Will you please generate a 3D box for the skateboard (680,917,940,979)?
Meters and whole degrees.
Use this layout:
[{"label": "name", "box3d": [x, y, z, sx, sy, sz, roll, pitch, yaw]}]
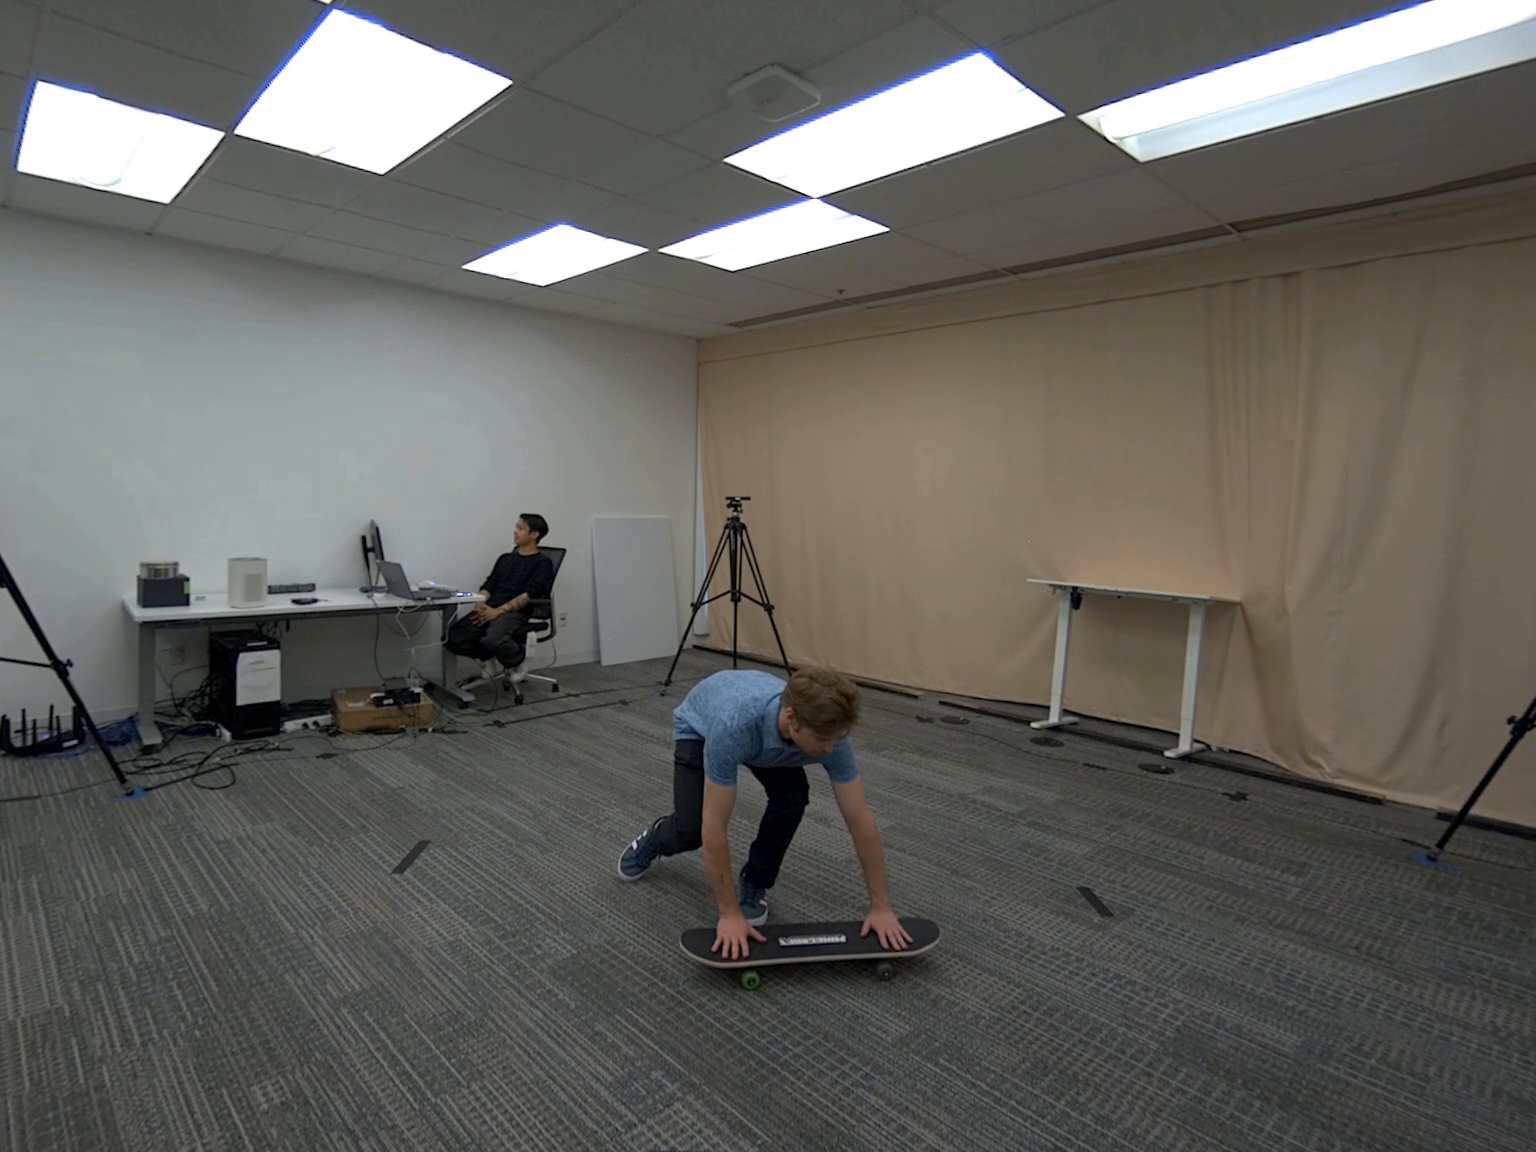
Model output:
[{"label": "skateboard", "box3d": [0.120, 1.111, 2.501, 0.780, 0.110, 0.196, 1, 7, -9]}]
